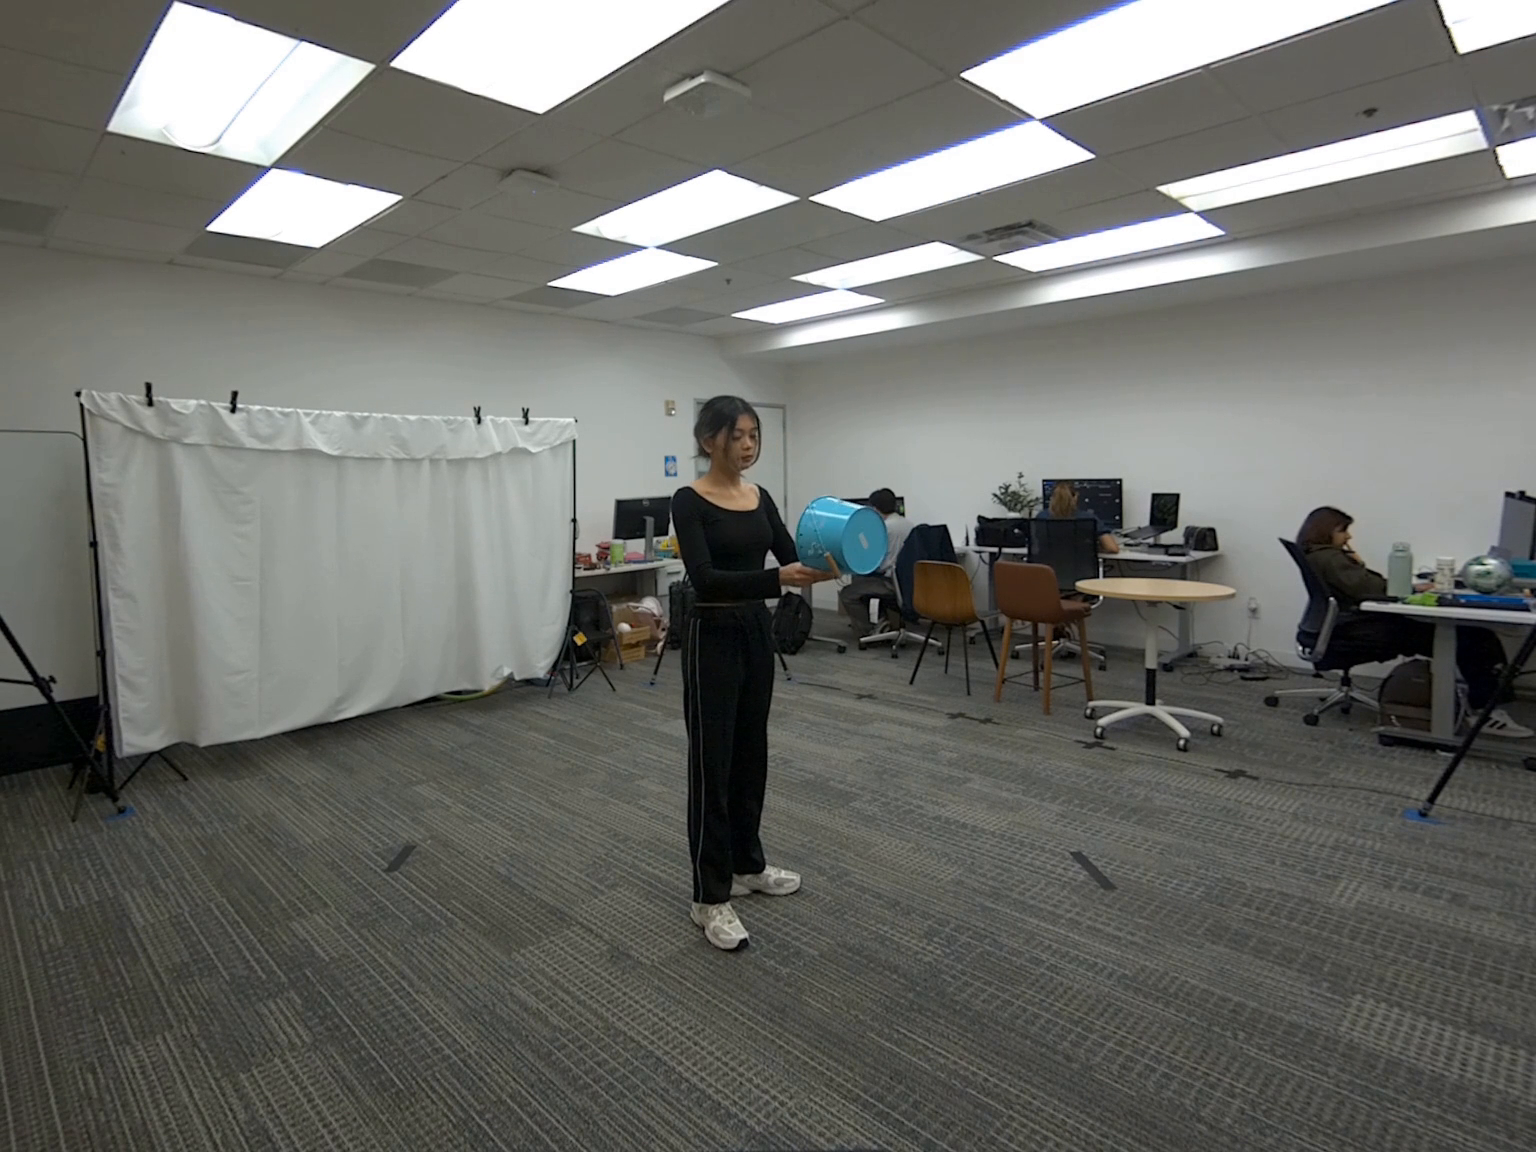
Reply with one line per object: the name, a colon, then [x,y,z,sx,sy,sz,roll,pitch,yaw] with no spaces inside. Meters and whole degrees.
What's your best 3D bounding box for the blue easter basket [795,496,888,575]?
blue easter basket: [0.205,-0.107,2.358,0.237,0.242,0.161,-5,9,-40]
